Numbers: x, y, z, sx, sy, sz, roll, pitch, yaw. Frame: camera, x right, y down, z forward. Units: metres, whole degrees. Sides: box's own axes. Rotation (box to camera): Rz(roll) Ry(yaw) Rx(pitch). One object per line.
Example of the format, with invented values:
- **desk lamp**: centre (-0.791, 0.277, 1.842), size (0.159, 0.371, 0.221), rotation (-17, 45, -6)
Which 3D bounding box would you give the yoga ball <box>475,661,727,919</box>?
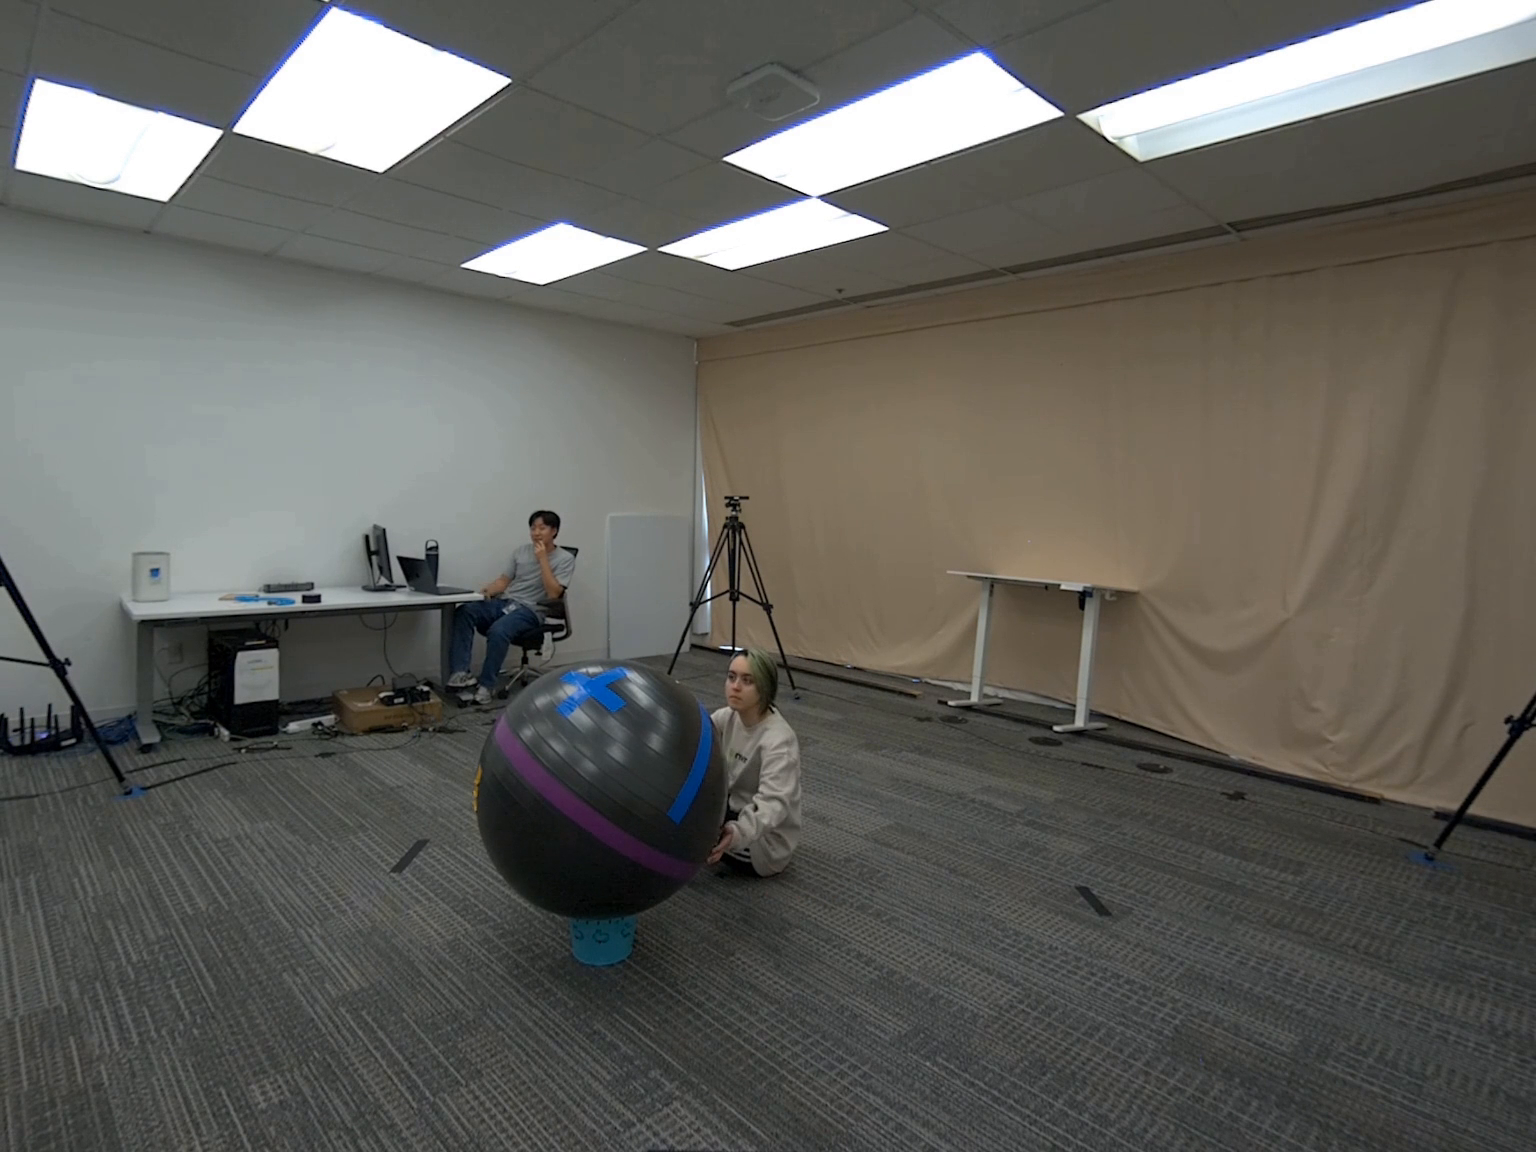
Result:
- **yoga ball**: centre (-0.505, 0.640, 2.556), size (0.757, 0.756, 0.761), rotation (1, 4, -1)
